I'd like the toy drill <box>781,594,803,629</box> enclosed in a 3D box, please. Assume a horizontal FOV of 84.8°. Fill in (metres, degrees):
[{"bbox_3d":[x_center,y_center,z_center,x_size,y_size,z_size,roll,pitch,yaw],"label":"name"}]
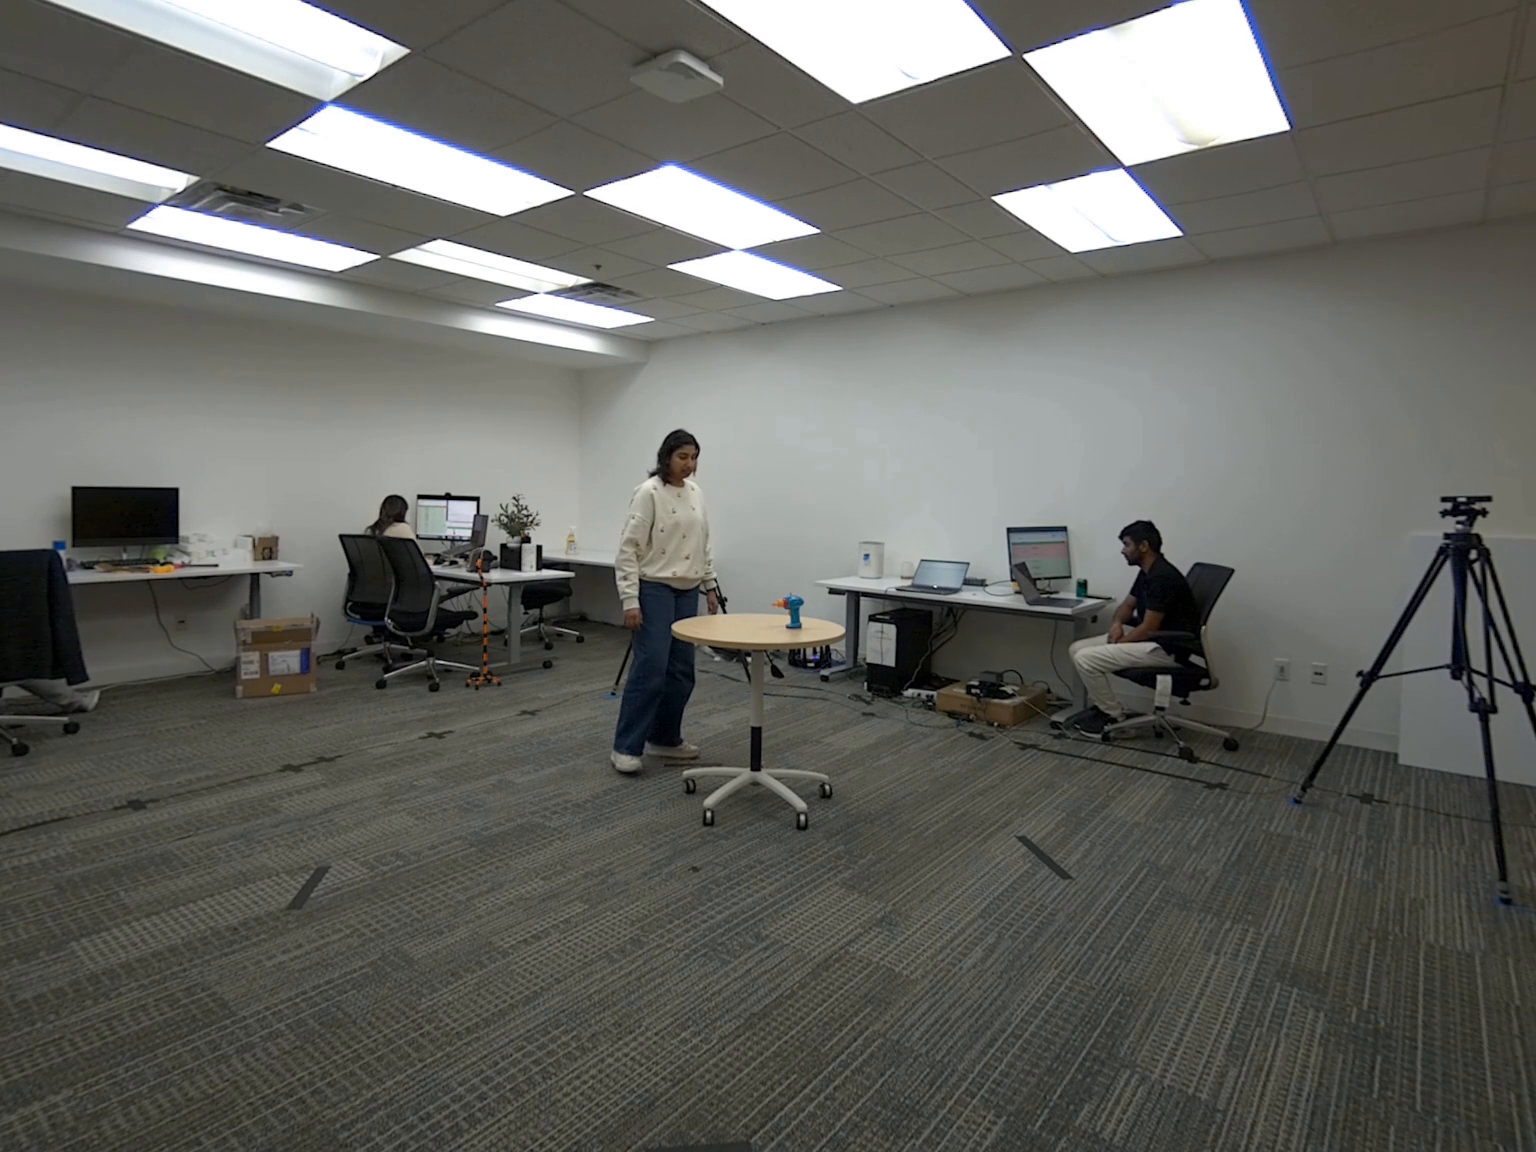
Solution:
[{"bbox_3d":[0.079,0.154,3.728,0.165,0.145,0.063,-3,7,-31],"label":"toy drill"}]
